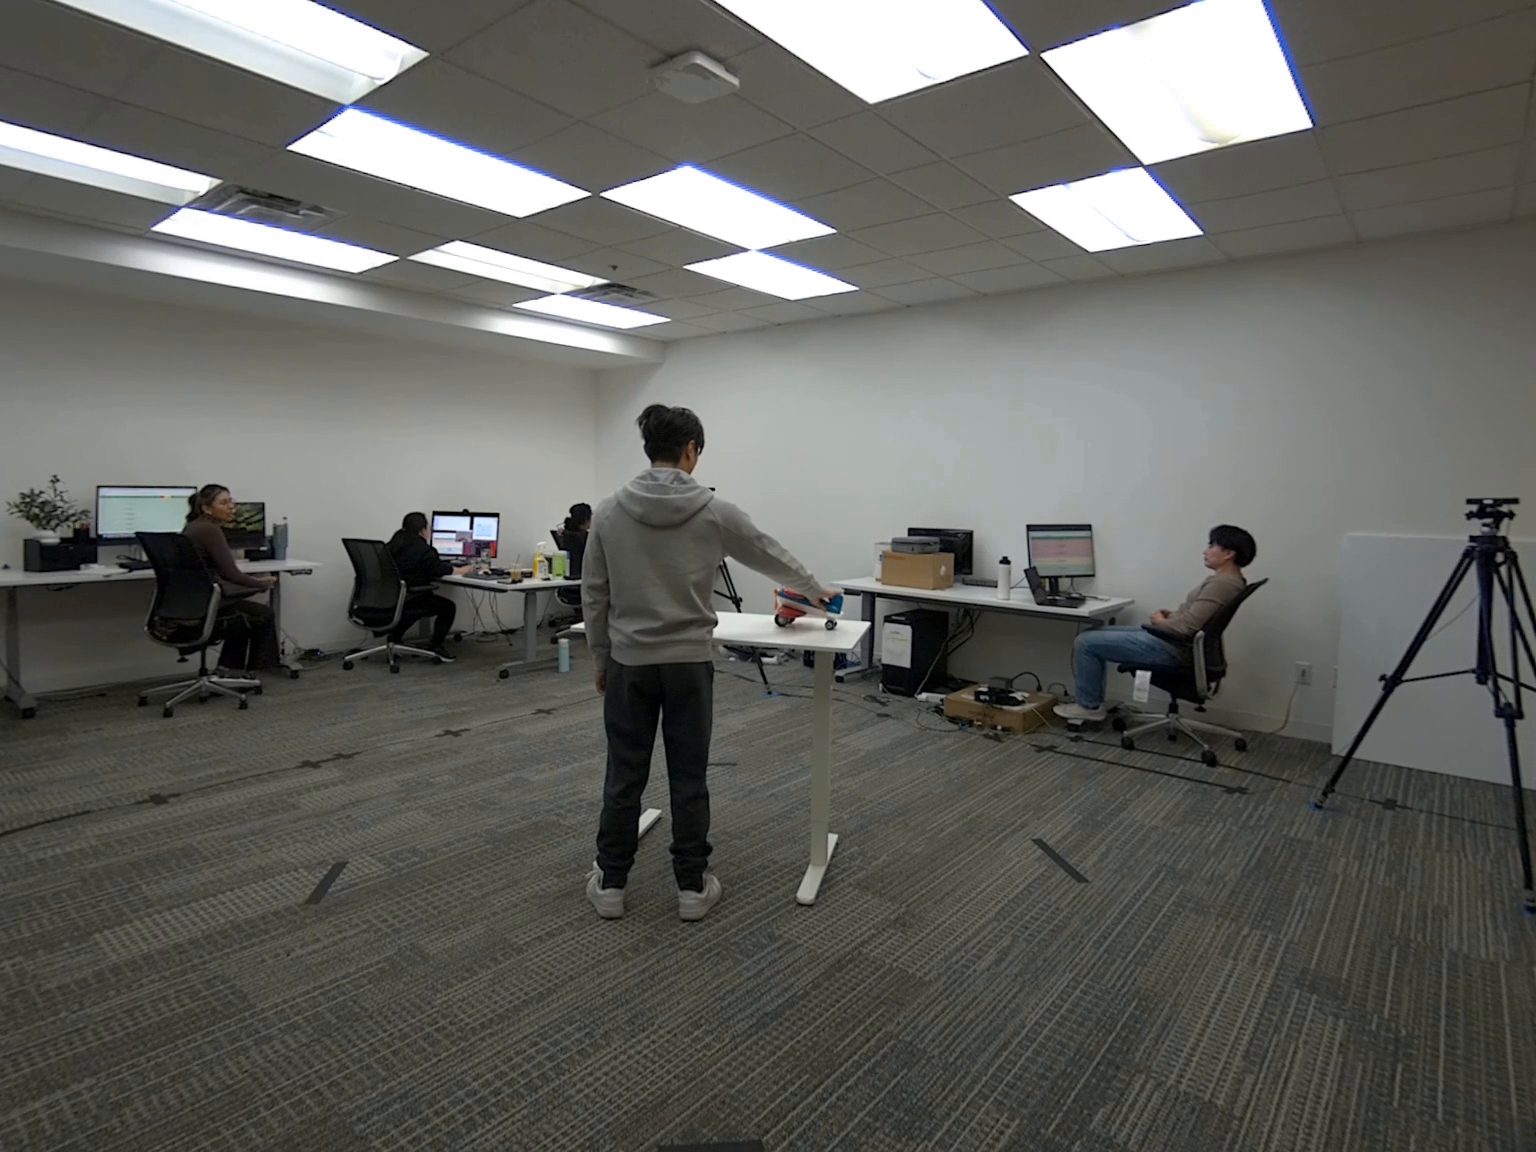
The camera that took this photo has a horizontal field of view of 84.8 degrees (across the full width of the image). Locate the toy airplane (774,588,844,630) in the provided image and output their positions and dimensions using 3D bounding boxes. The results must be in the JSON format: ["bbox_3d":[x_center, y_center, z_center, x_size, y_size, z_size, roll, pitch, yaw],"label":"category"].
[{"bbox_3d":[0.140,0.109,3.188,0.257,0.156,0.255,0,6,-9],"label":"toy airplane"}]
